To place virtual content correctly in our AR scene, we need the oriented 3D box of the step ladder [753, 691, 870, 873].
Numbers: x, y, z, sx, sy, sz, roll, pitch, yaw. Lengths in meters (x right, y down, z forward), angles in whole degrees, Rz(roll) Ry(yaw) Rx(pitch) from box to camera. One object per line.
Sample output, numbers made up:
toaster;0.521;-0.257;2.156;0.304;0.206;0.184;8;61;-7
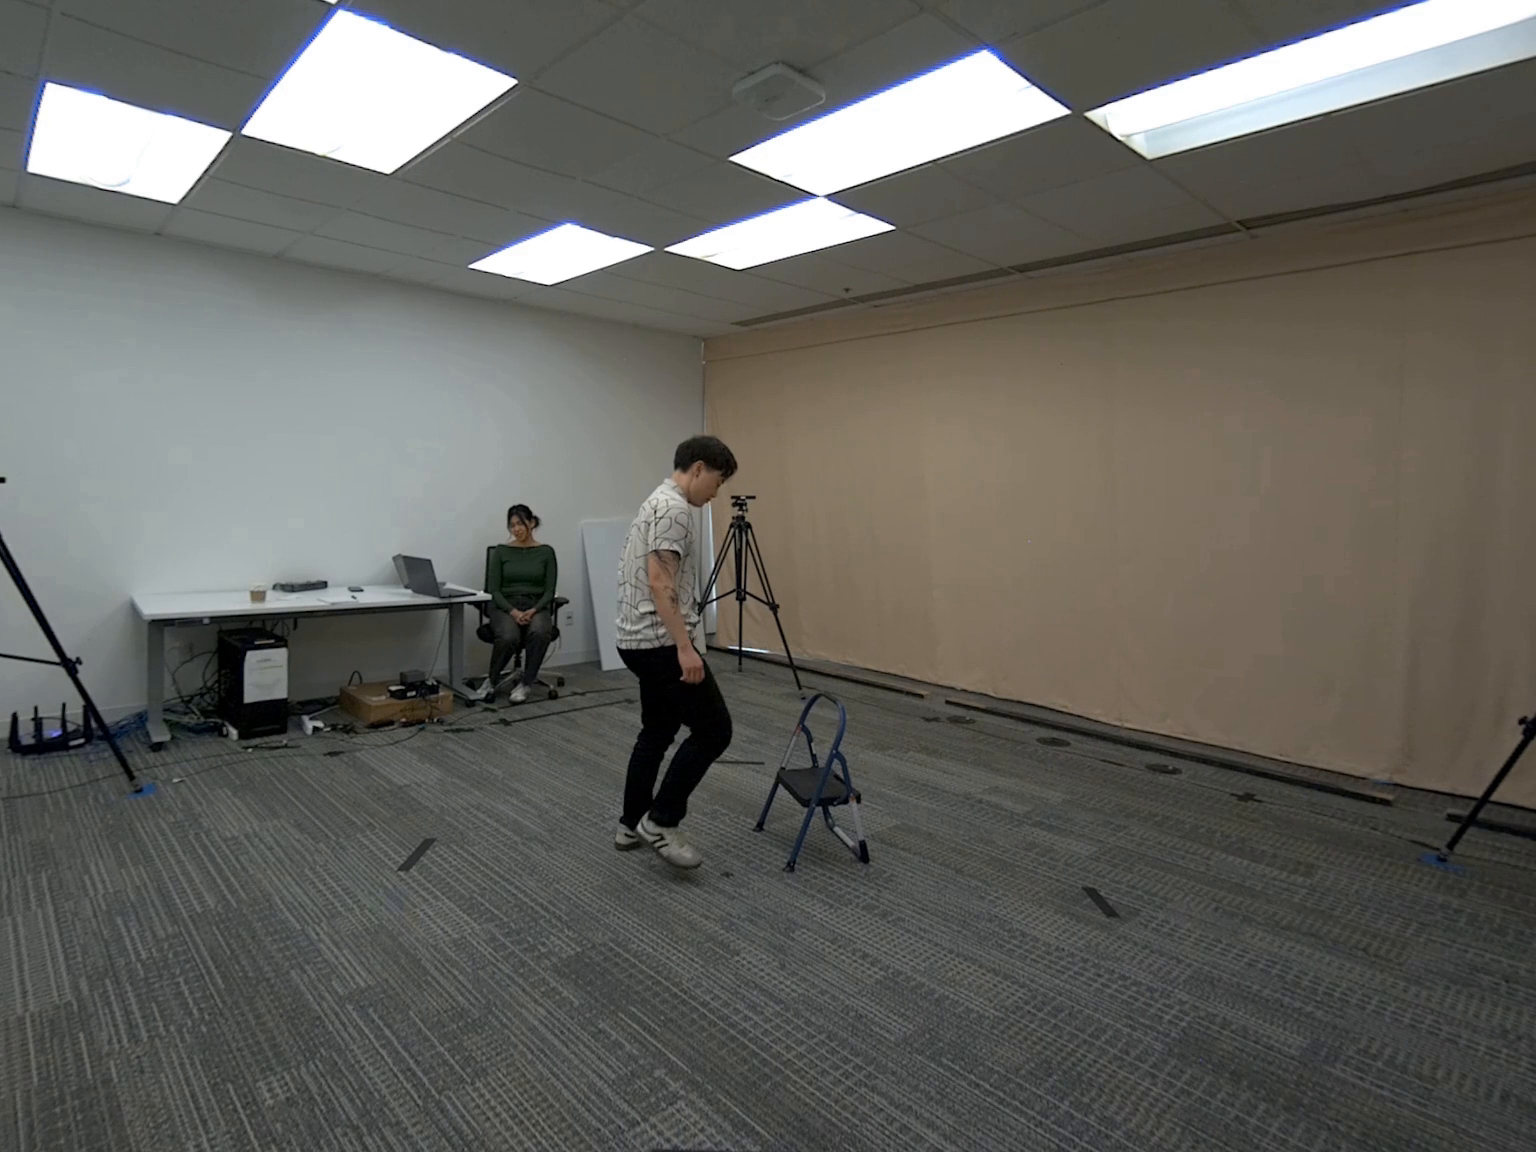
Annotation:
step ladder;0.165;0.782;3.366;0.345;0.604;0.437;0;4;-17
